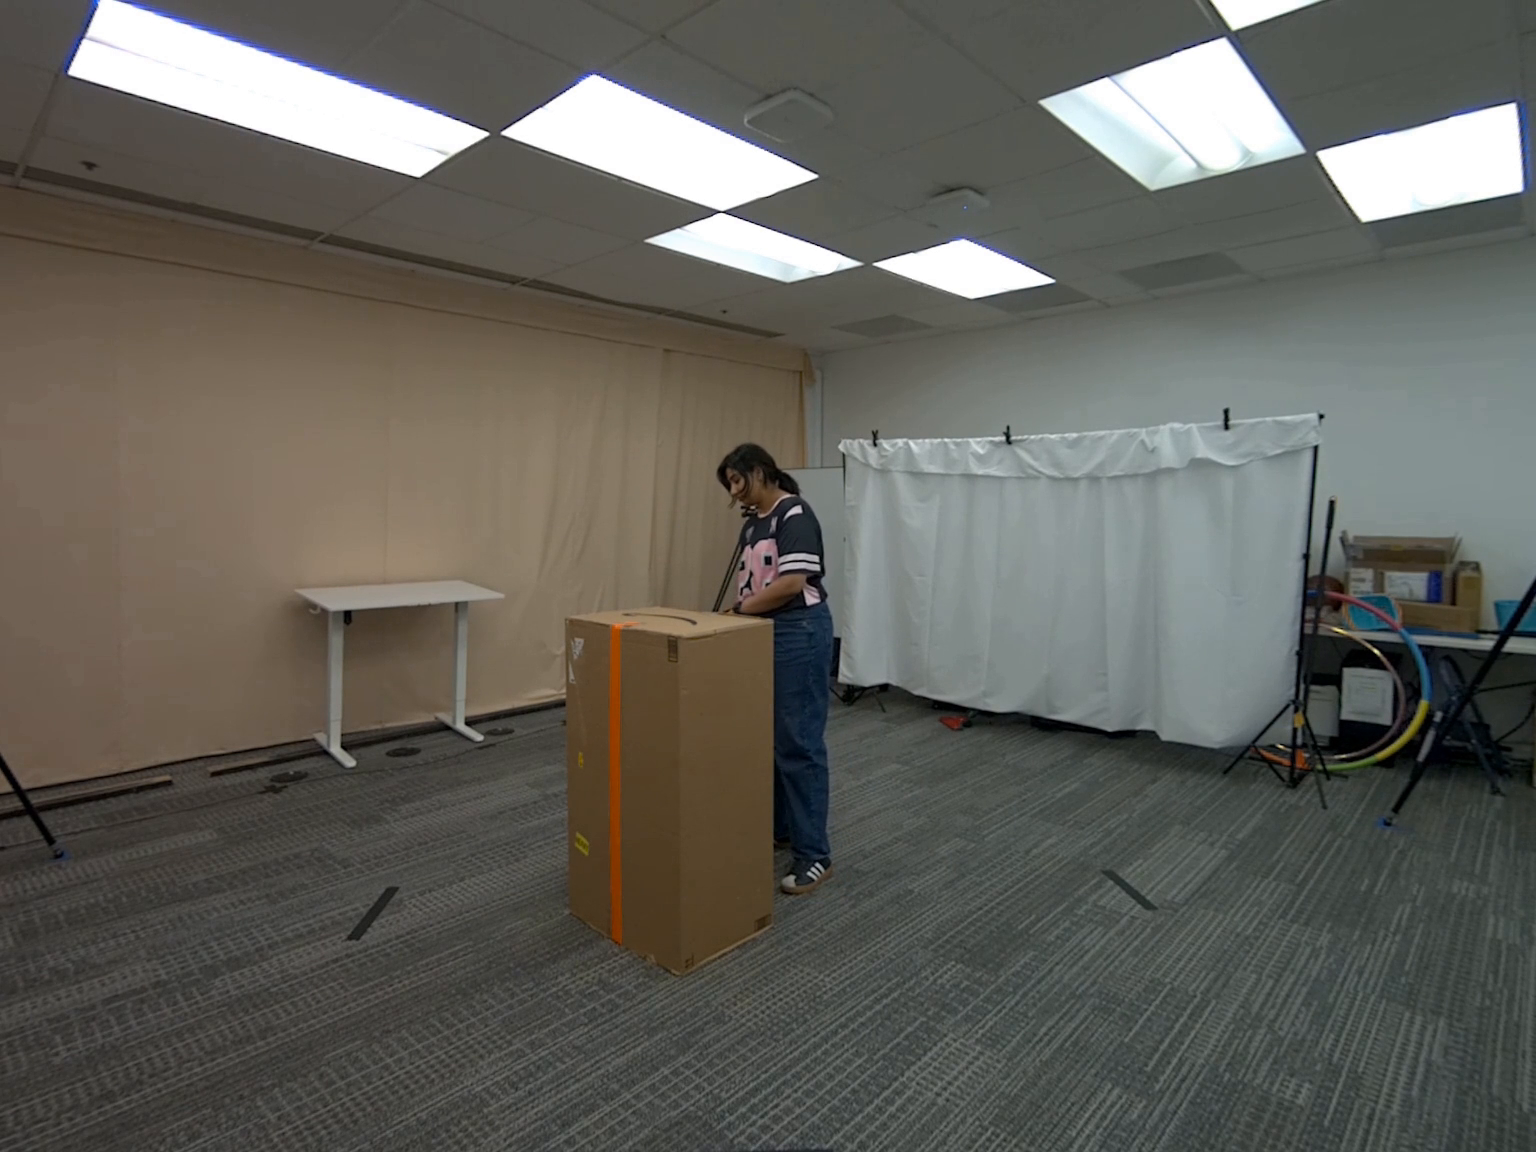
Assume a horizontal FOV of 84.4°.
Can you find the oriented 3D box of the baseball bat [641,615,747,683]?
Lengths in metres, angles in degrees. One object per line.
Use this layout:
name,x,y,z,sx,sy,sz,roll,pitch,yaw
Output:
baseball bat,-0.316,0.303,3.489,0.553,0.090,0.086,-29,-16,39
